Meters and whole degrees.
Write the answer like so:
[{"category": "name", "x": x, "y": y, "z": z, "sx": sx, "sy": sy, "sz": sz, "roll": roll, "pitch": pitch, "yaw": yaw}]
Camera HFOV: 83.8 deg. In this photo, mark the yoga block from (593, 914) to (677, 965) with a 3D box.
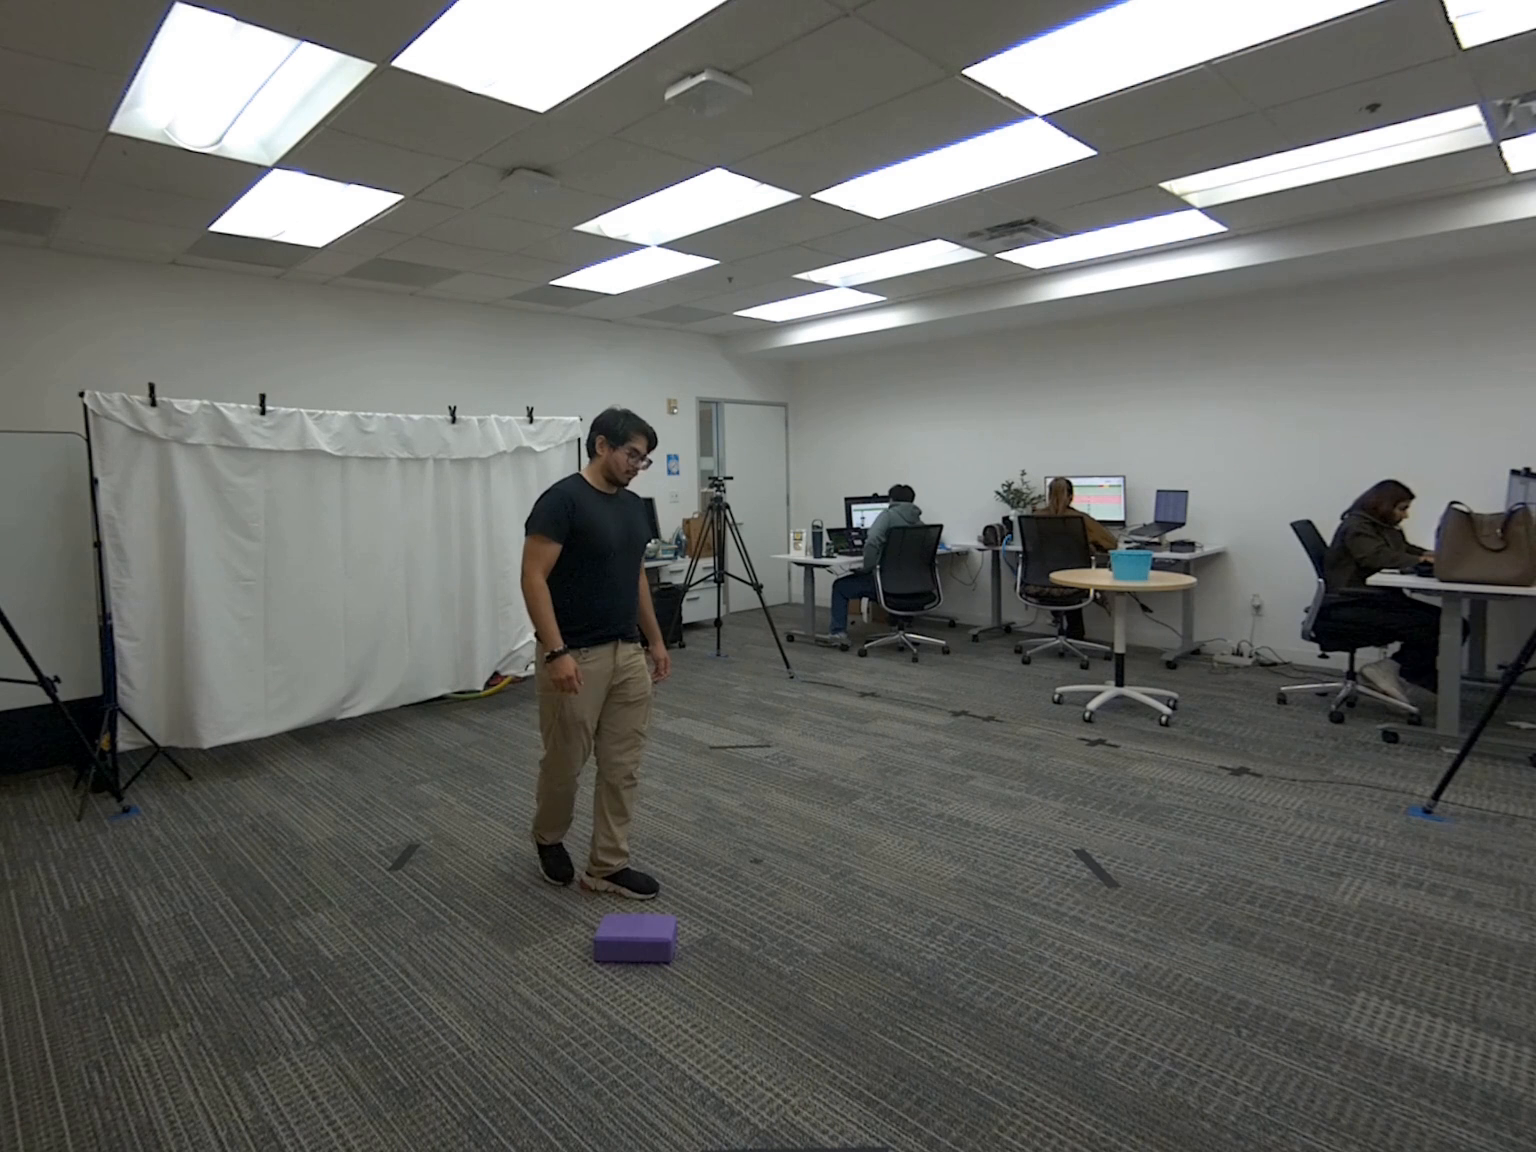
[{"category": "yoga block", "x": -0.383, "y": 1.075, "z": 2.537, "sx": 0.230, "sy": 0.076, "sz": 0.149, "roll": -1, "pitch": 5, "yaw": 3}]
